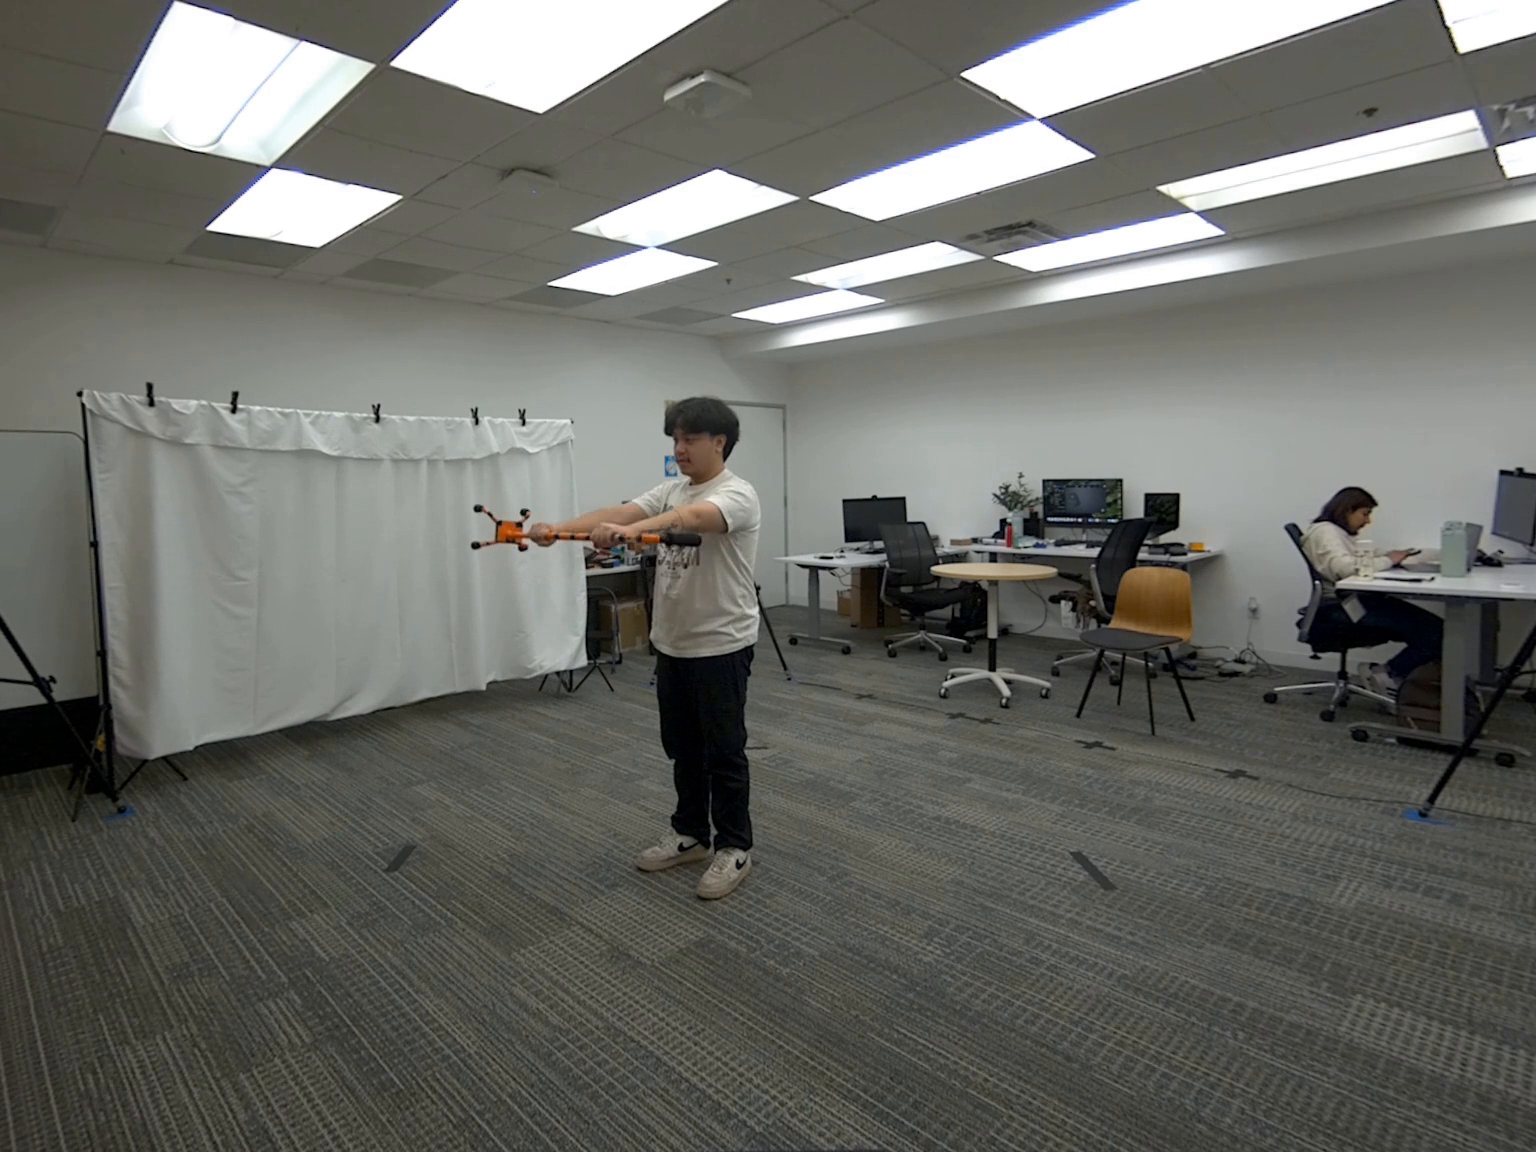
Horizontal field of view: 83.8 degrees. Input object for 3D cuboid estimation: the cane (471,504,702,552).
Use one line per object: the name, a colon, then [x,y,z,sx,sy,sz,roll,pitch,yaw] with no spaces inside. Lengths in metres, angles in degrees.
cane: [-0.573,-0.137,2.566,0.200,0.151,0.936,0,3,-45]
